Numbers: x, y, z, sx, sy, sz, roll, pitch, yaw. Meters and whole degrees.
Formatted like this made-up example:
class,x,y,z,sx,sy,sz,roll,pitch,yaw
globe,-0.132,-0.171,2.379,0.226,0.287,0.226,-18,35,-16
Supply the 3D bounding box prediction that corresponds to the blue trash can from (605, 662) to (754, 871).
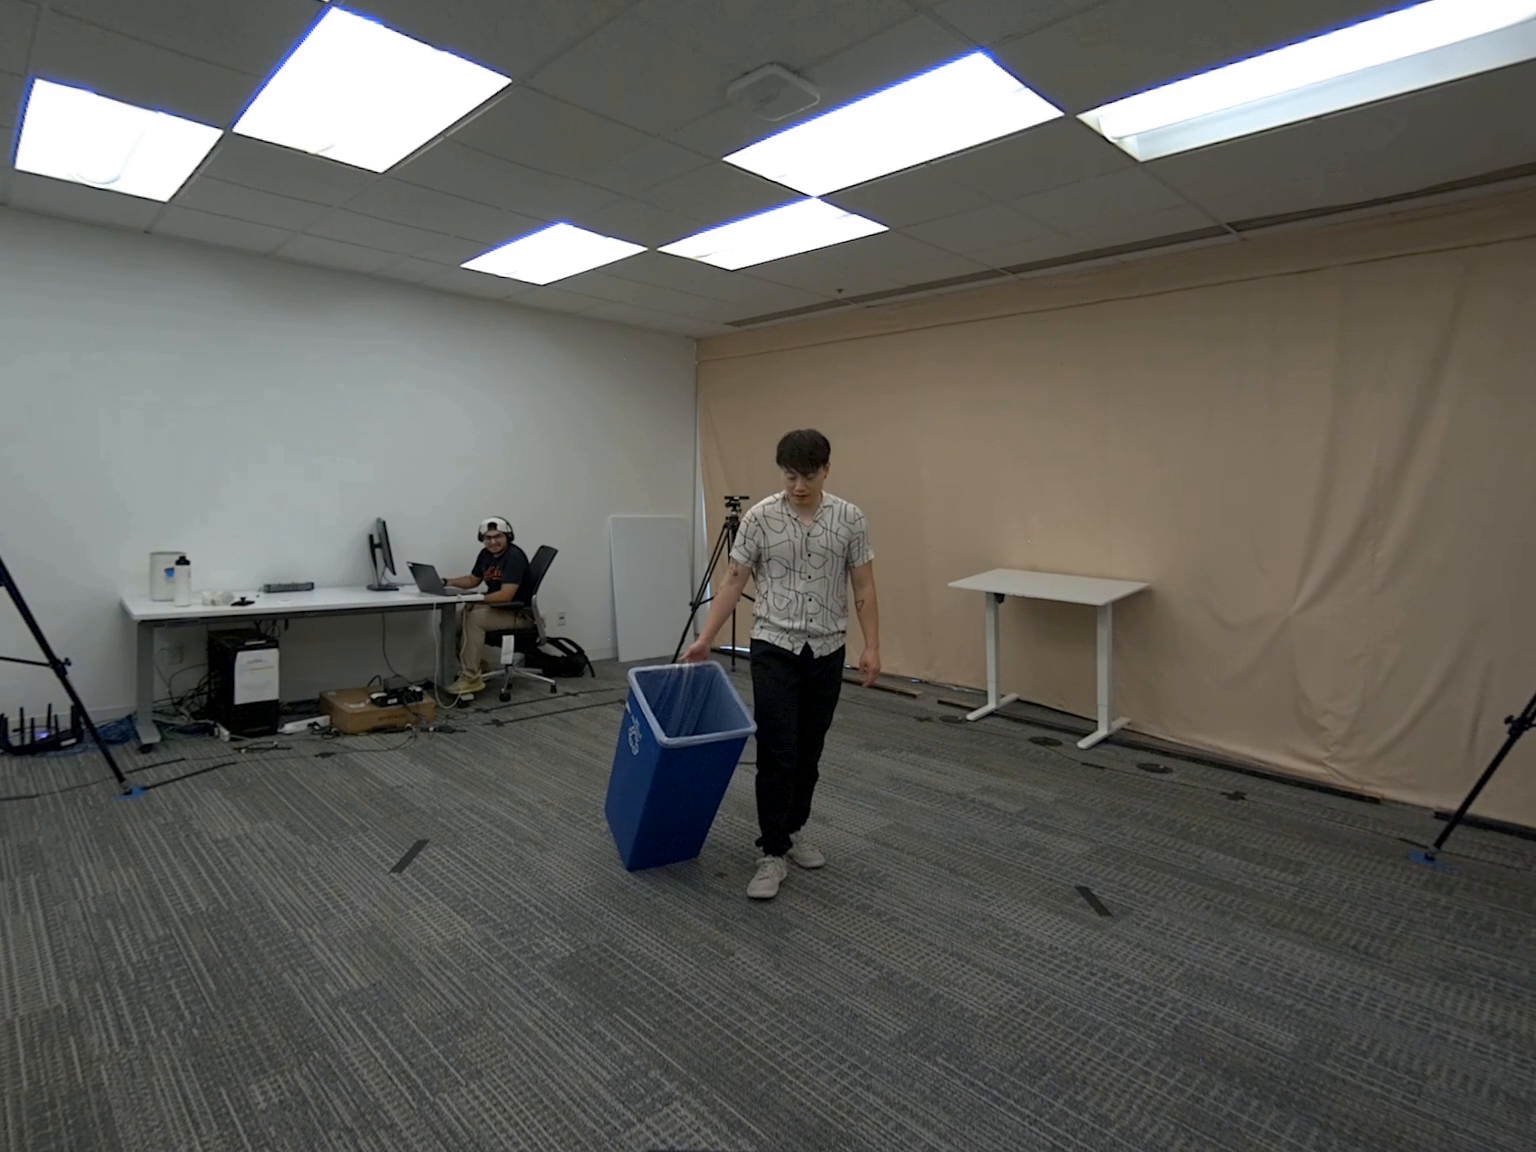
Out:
class,x,y,z,sx,sy,sz,roll,pitch,yaw
blue trash can,-0.364,0.722,3.098,0.371,0.705,0.386,-2,35,-30
